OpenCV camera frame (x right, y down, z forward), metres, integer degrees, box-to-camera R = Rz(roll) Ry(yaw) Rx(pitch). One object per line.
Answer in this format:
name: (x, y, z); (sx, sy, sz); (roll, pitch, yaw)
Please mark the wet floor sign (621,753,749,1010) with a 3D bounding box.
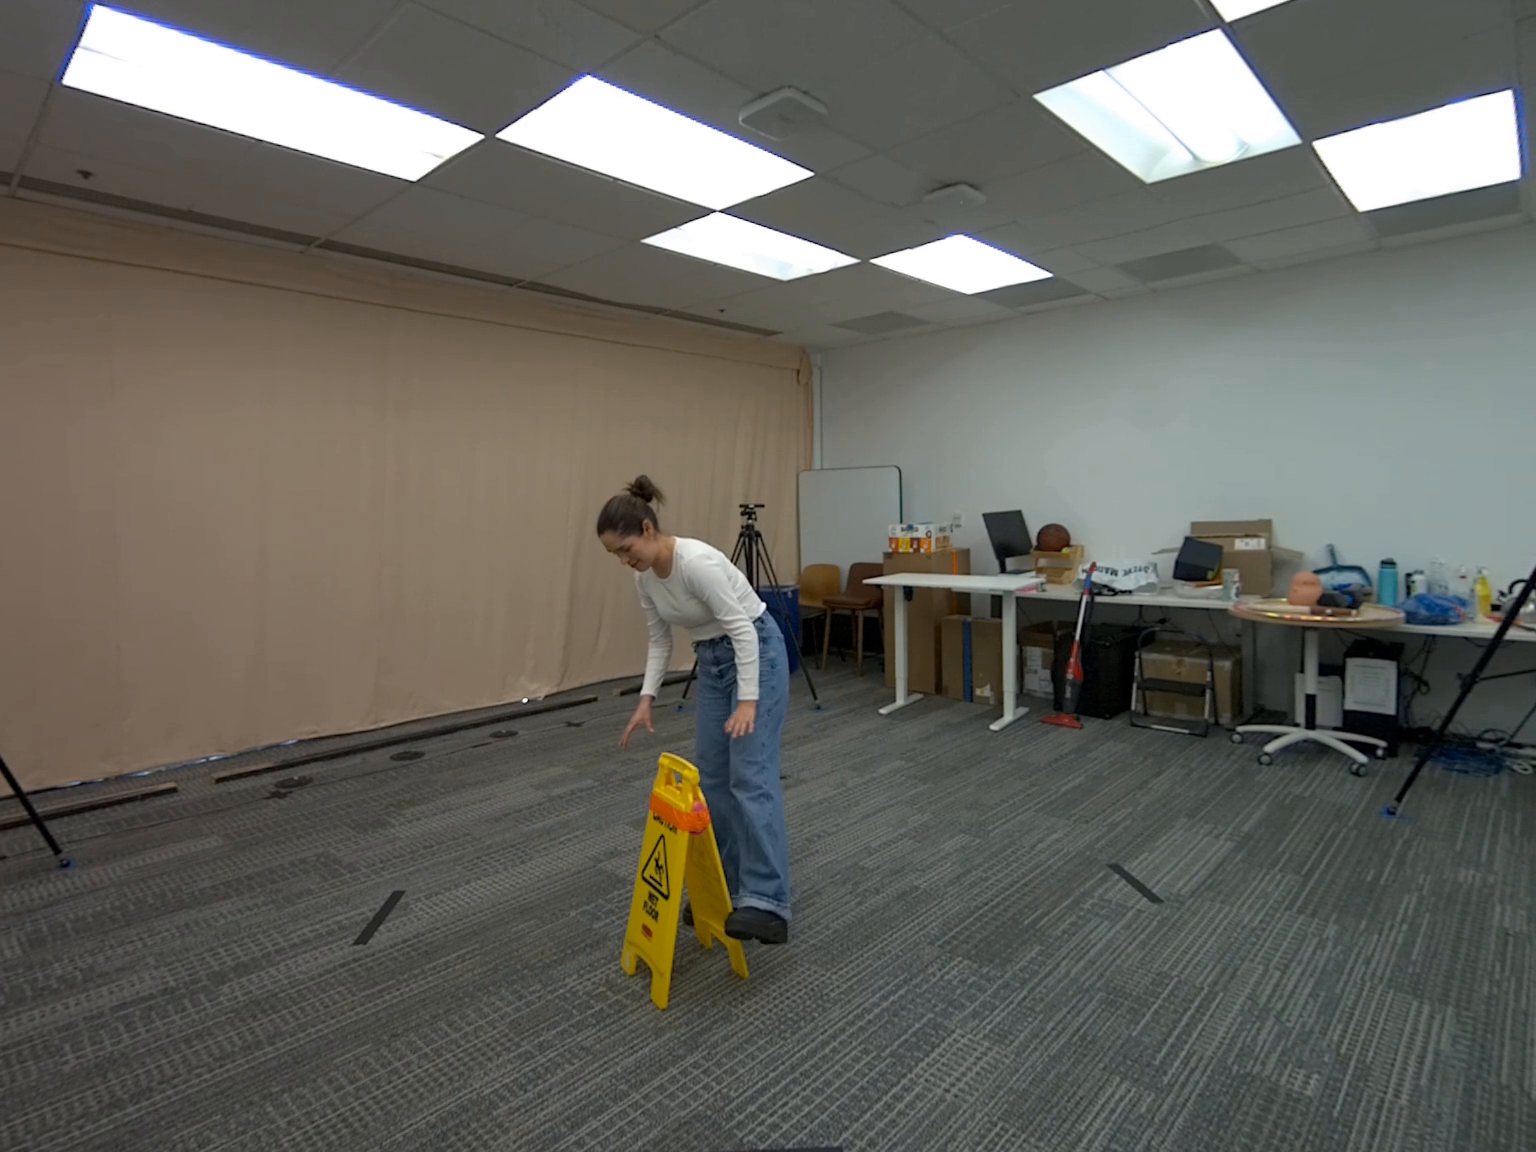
wet floor sign: (-0.258, 0.860, 2.497); (0.282, 0.644, 0.291); (-3, 6, -31)
